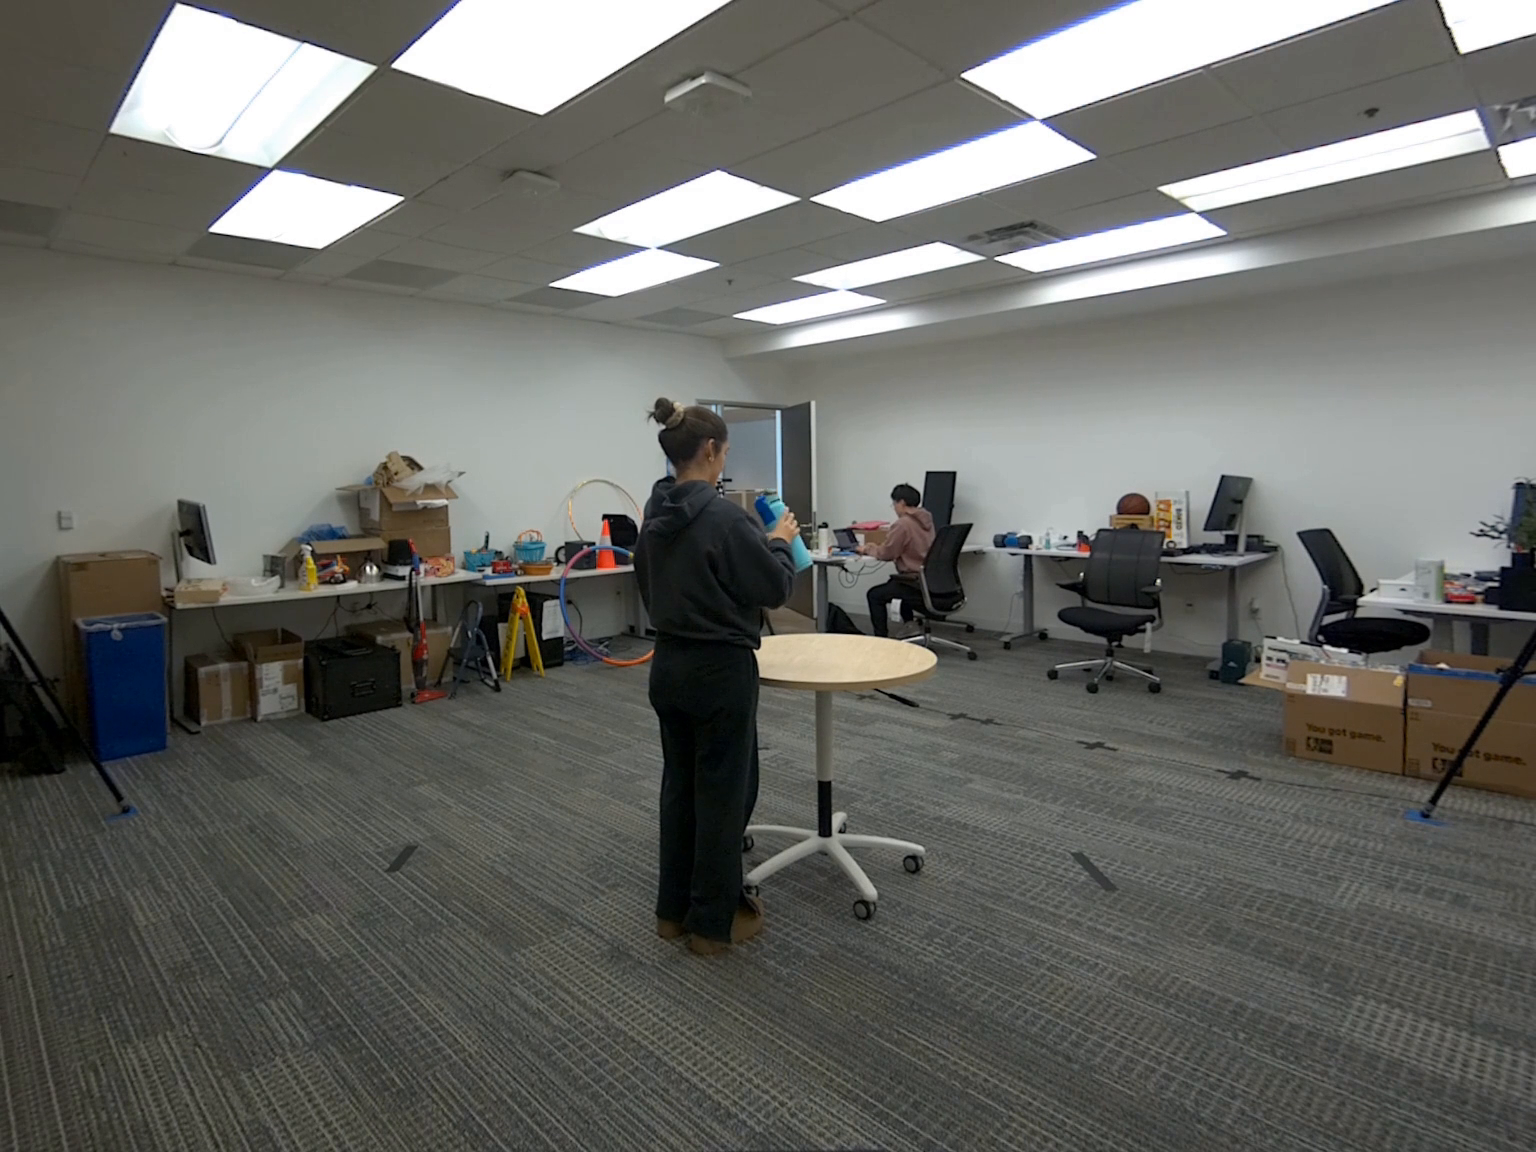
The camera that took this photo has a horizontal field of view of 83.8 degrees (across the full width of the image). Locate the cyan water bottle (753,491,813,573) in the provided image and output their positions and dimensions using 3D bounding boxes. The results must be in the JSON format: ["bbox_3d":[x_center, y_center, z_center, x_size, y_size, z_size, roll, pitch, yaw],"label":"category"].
[{"bbox_3d":[0.045,-0.142,2.734,0.092,0.286,0.092,-24,-6,-4],"label":"cyan water bottle"}]
